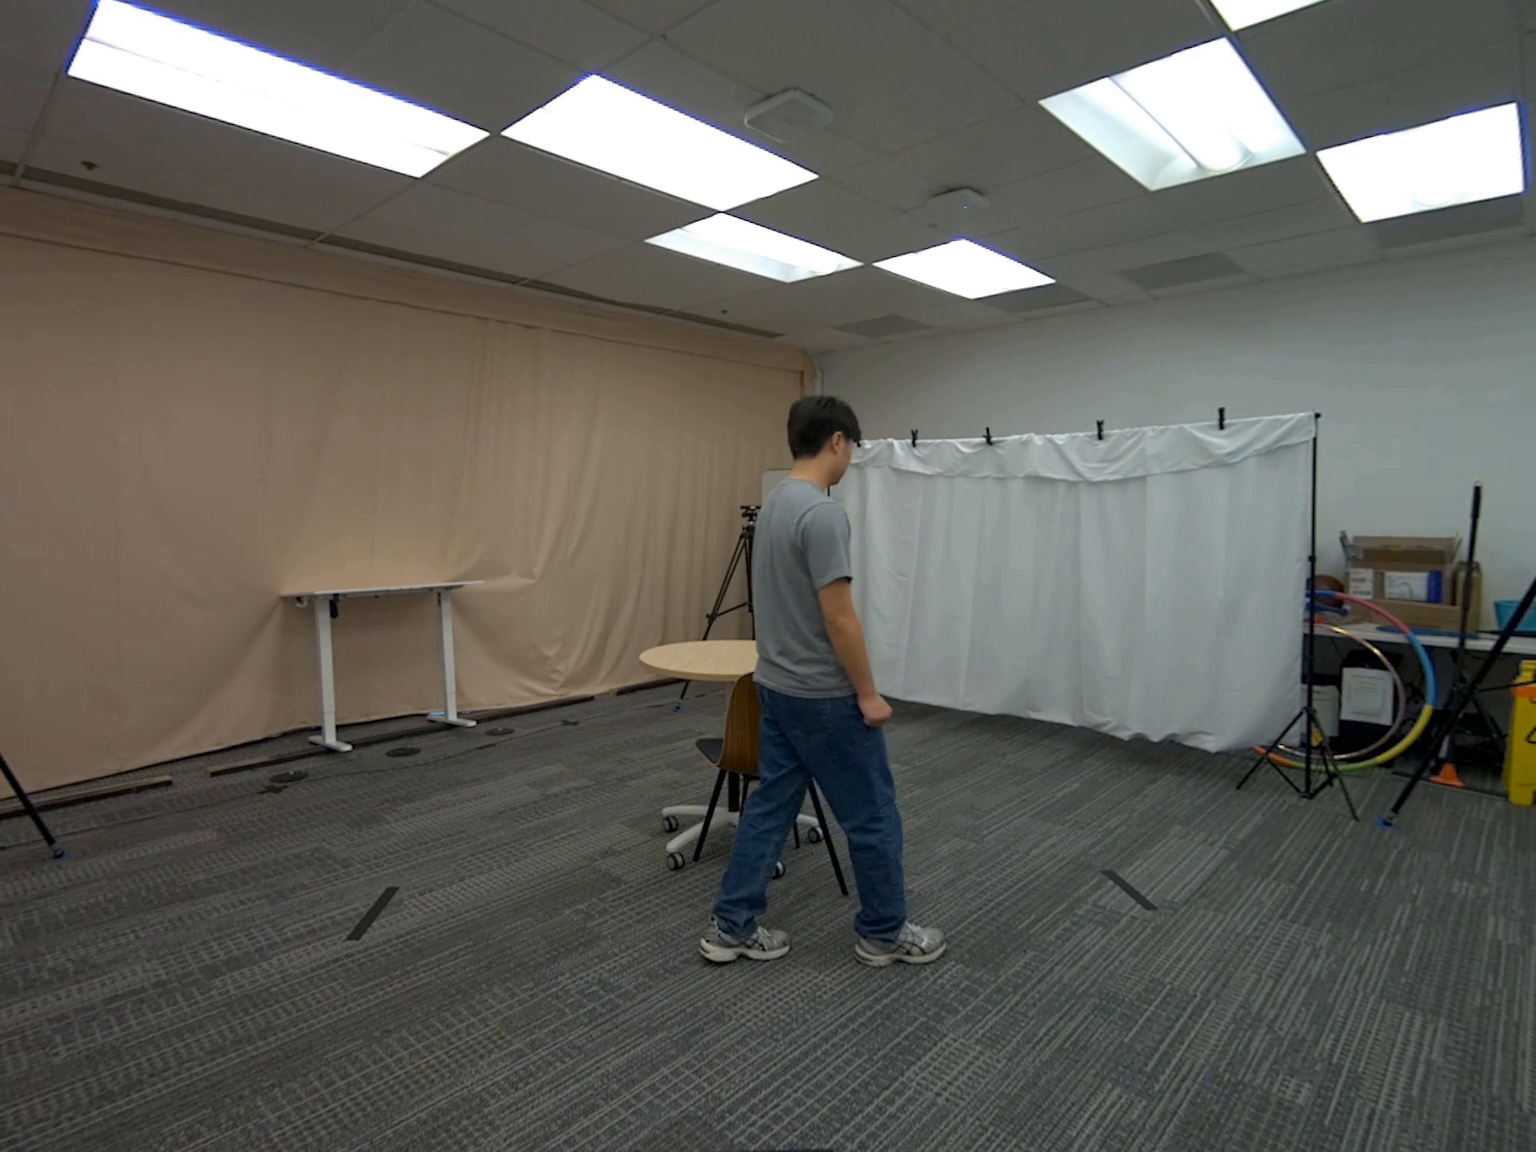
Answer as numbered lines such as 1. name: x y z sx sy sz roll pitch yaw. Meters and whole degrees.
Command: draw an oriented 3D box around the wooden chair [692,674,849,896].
1. wooden chair: -0.004 0.700 3.124 0.469 0.873 0.536 -1 8 -20
